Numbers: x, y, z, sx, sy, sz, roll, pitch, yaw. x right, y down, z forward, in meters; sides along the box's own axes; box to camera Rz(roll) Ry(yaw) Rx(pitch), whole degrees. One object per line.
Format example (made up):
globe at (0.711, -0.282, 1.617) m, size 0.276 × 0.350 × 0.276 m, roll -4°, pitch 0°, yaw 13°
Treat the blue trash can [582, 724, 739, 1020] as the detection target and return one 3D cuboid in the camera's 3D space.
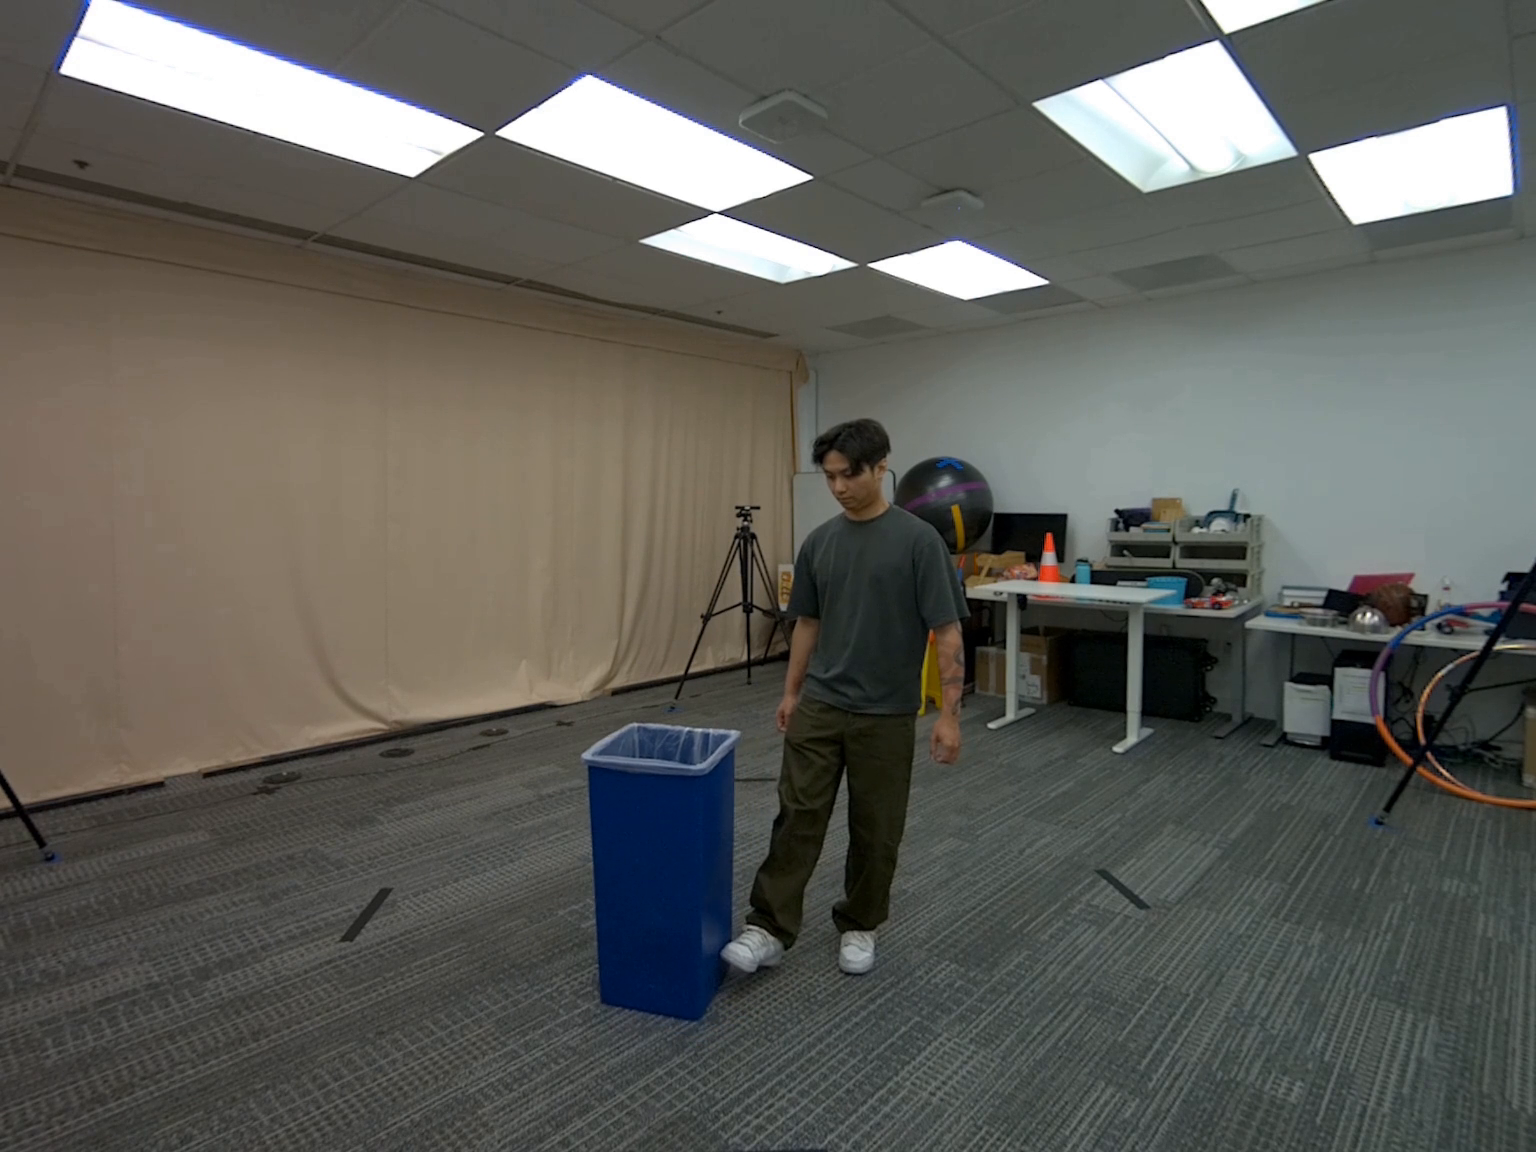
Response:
blue trash can at (-0.289, 0.837, 2.436) m, size 0.380 × 0.712 × 0.372 m, roll -1°, pitch 3°, yaw 15°
